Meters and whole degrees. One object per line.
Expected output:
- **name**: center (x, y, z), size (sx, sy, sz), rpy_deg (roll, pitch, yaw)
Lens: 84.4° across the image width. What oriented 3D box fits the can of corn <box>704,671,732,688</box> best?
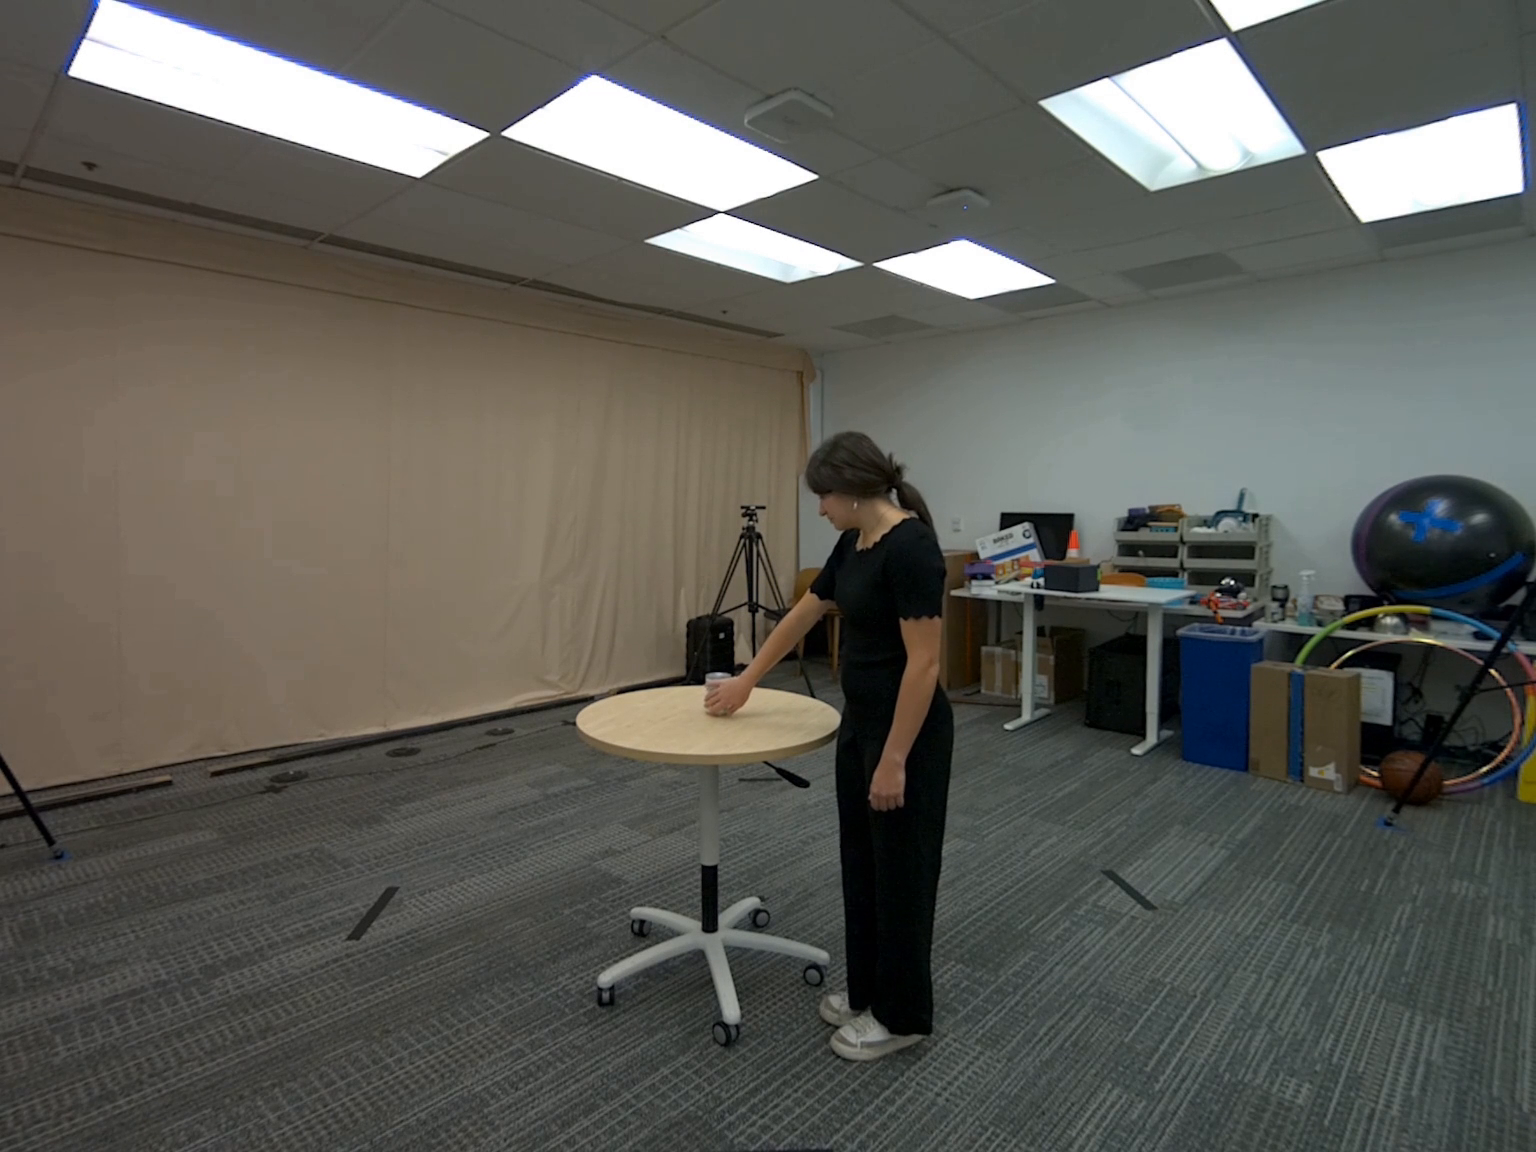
- **can of corn**: center (-0.137, 0.350, 2.465), size (0.074, 0.111, 0.074), rpy_deg (1, 5, -2)
